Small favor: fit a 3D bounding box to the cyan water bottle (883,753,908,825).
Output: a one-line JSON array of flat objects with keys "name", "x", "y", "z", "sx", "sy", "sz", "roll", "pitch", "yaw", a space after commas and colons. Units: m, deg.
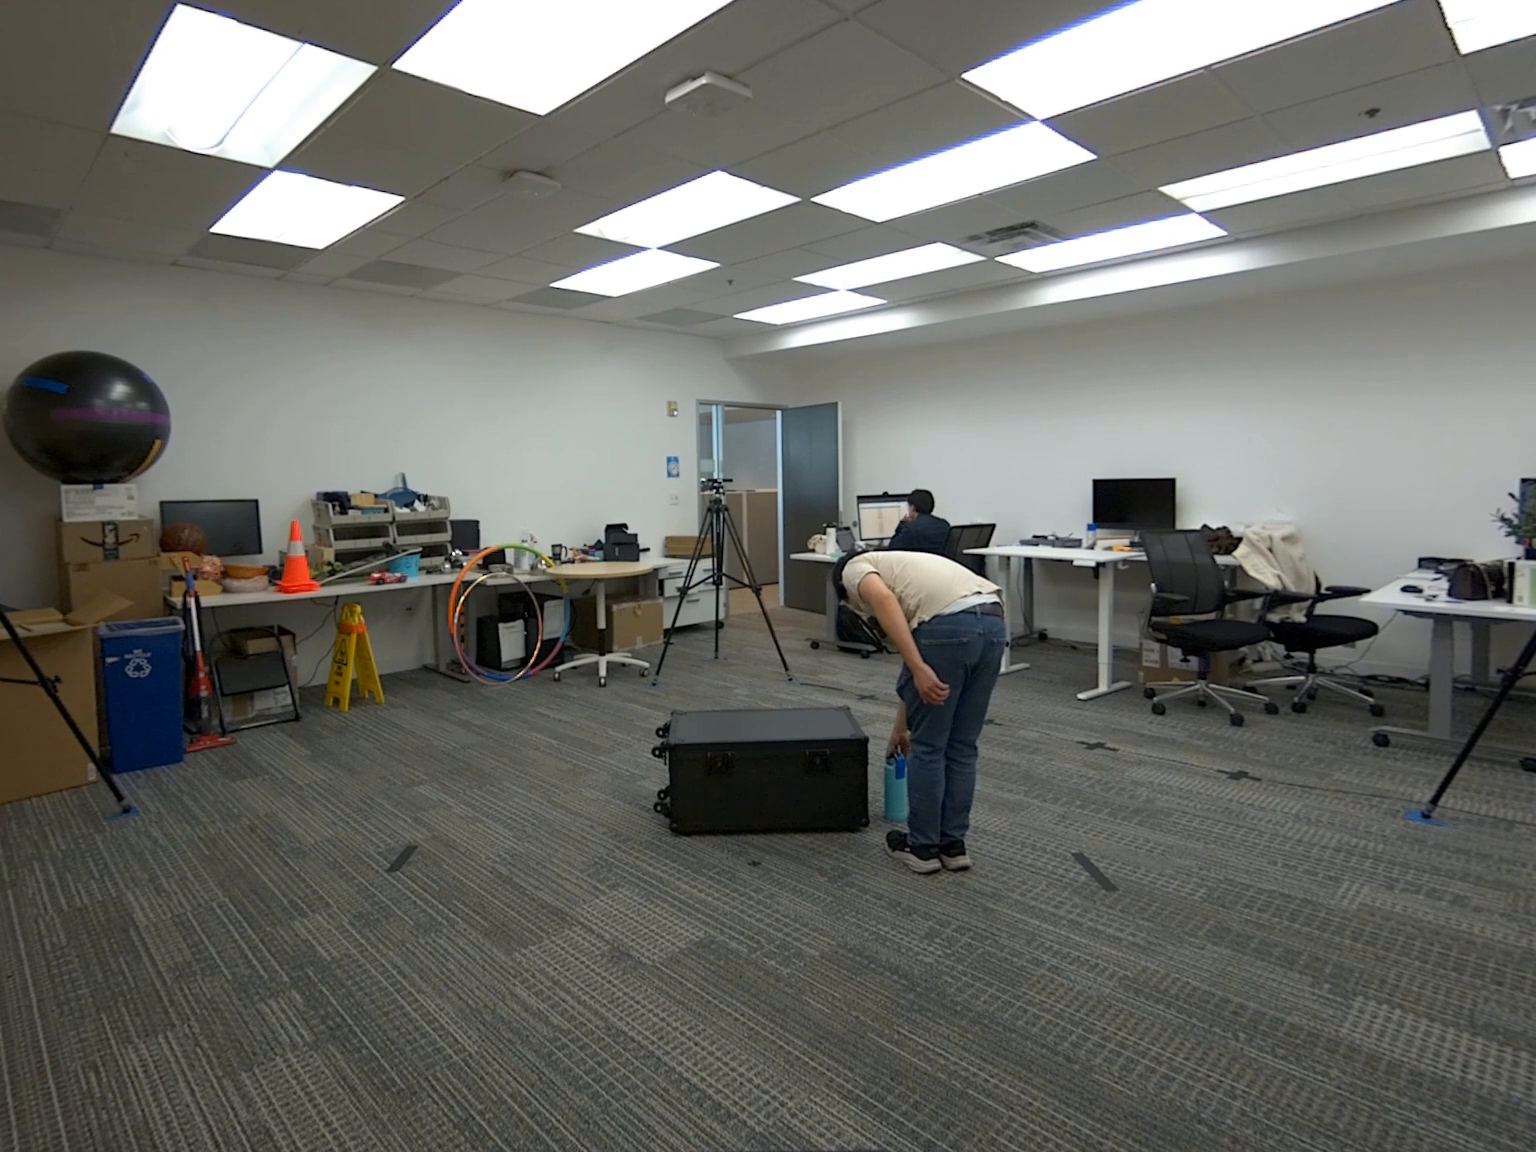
[{"name": "cyan water bottle", "x": 0.518, "y": 0.846, "z": 3.490, "sx": 0.092, "sy": 0.283, "sz": 0.092, "roll": -2, "pitch": 2, "yaw": -2}]
